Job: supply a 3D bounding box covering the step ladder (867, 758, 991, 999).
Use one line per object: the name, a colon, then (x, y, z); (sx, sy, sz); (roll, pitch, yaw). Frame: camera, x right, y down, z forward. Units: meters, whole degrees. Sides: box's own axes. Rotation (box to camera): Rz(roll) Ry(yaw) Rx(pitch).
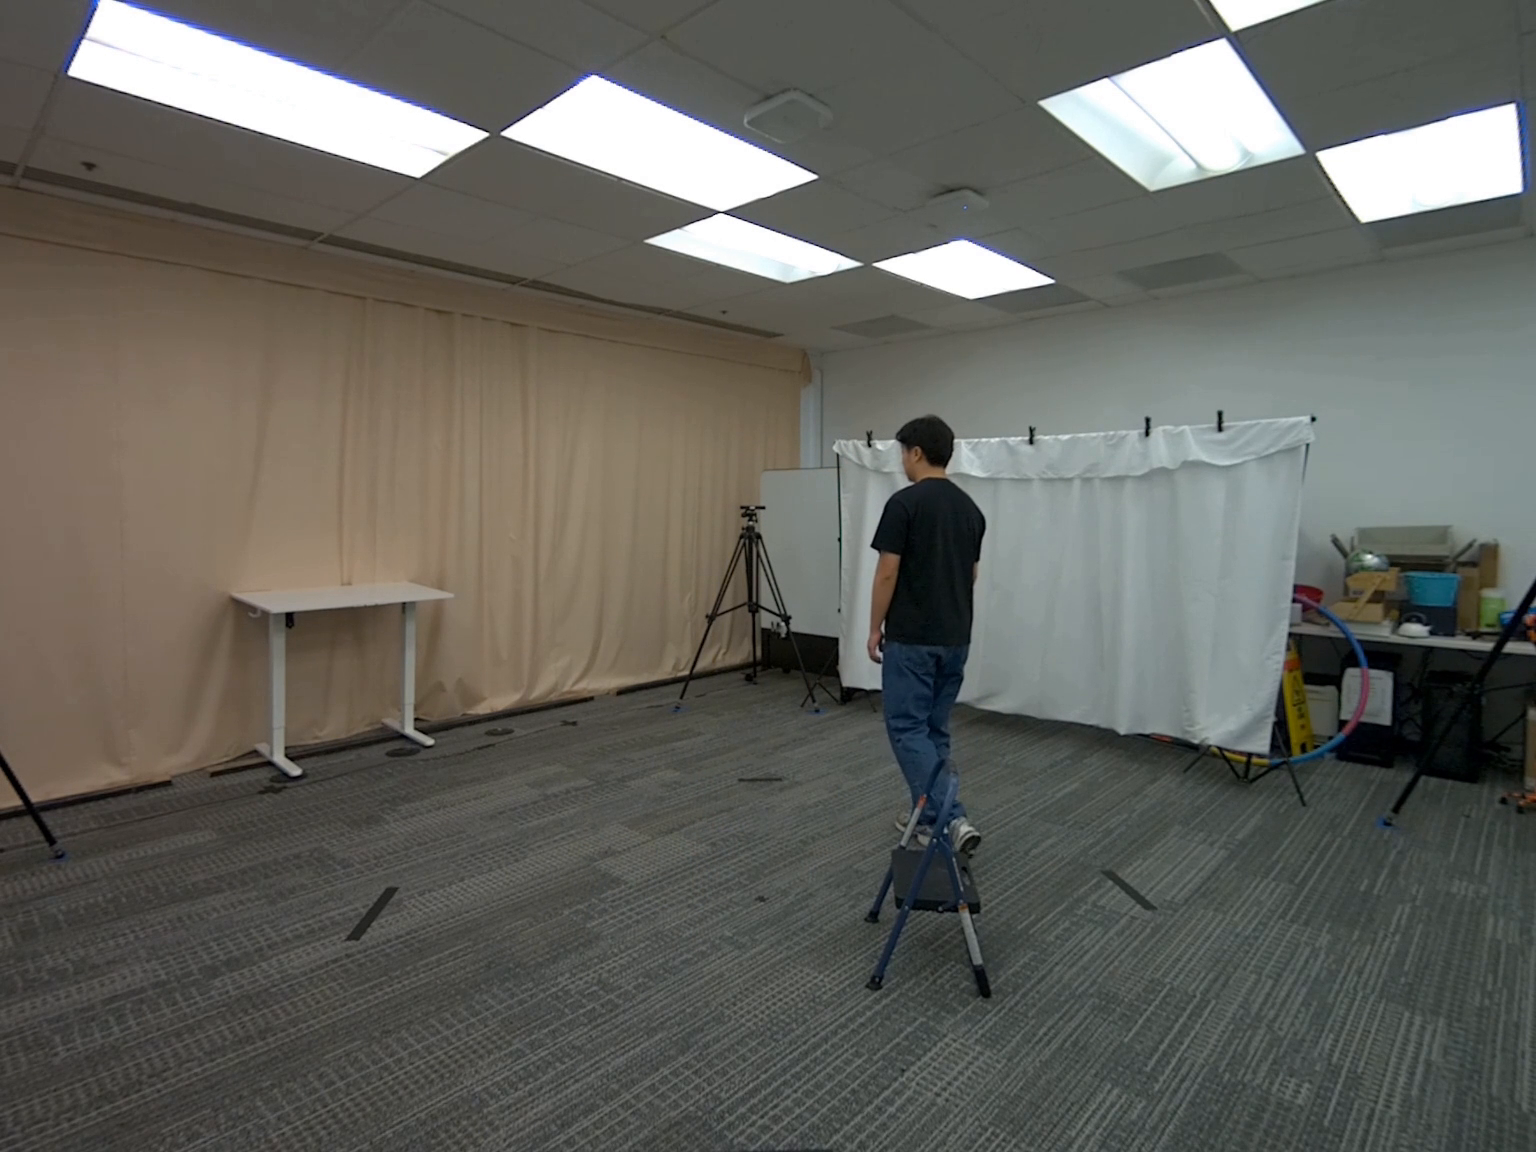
step ladder: (0.486, 0.875, 2.588); (0.352, 0.604, 0.428); (0, 4, 7)
